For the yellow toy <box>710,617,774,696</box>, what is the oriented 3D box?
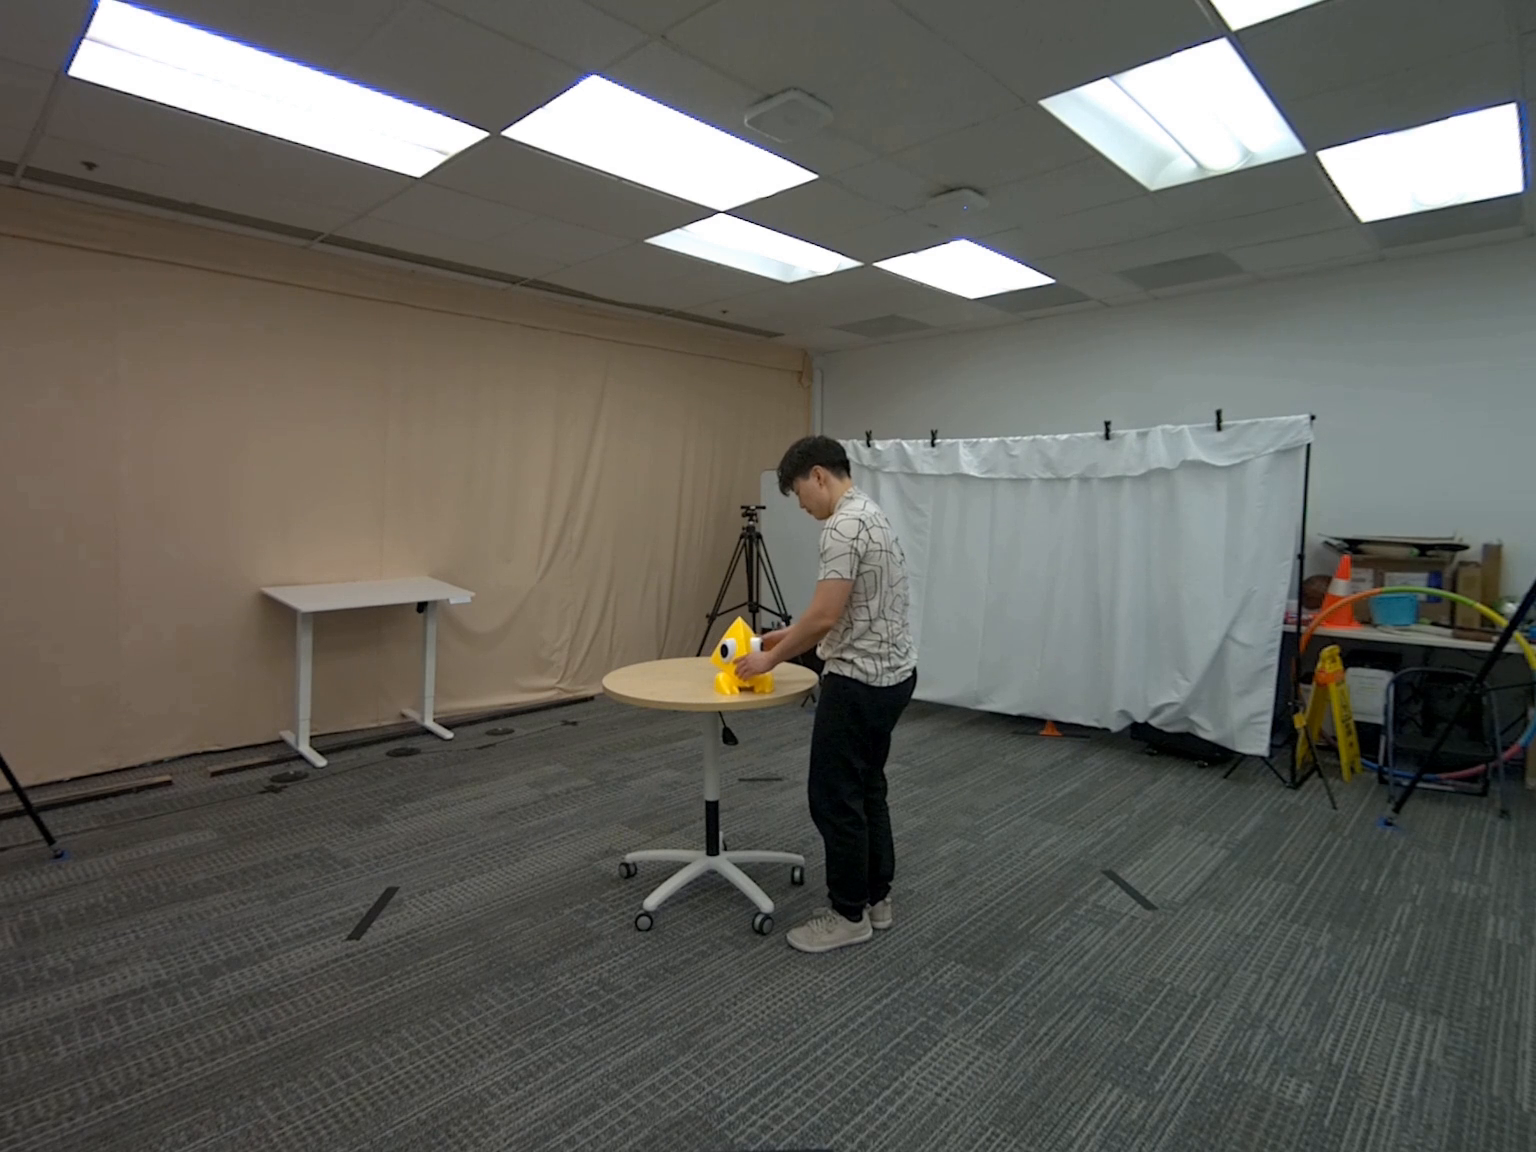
[{"bbox_3d":[-0.079,0.262,2.817,0.203,0.230,0.195,-1,3,-9],"label":"yellow toy"}]
